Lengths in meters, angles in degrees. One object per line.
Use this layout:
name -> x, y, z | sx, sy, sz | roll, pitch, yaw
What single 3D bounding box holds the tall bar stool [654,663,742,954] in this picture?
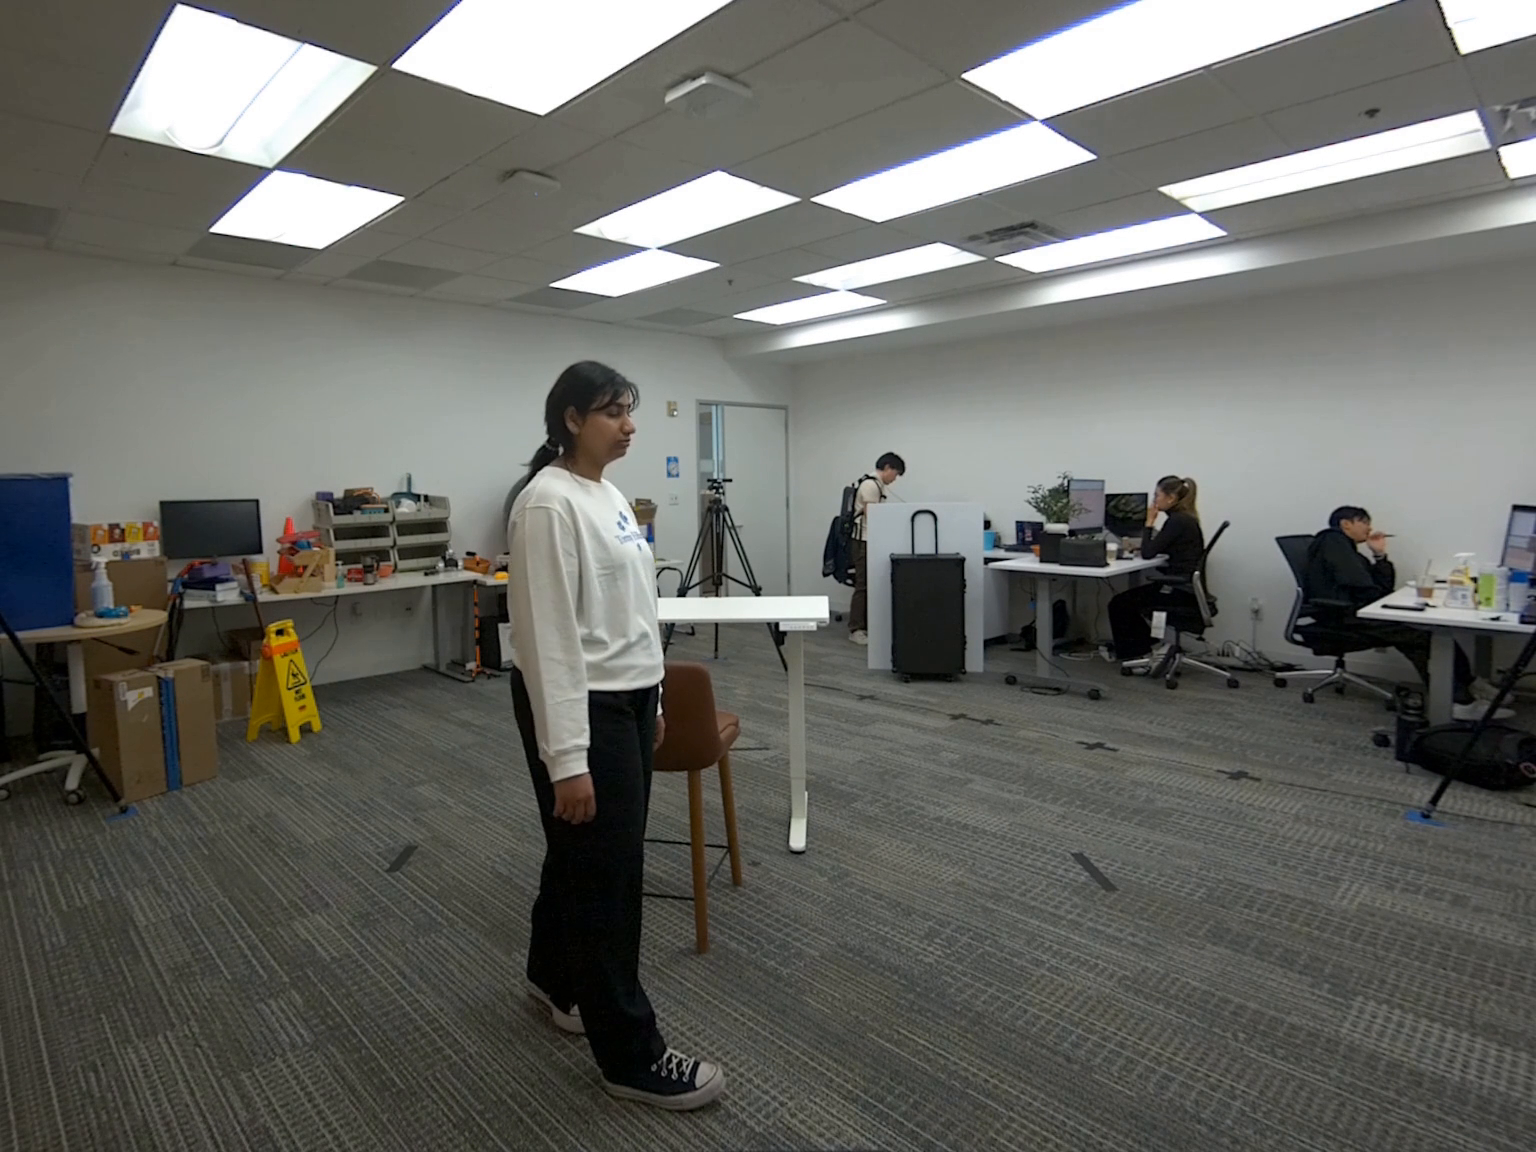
tall bar stool -> -0.328, 0.654, 2.745 | 0.462, 0.884, 0.464 | 0, 7, 12
